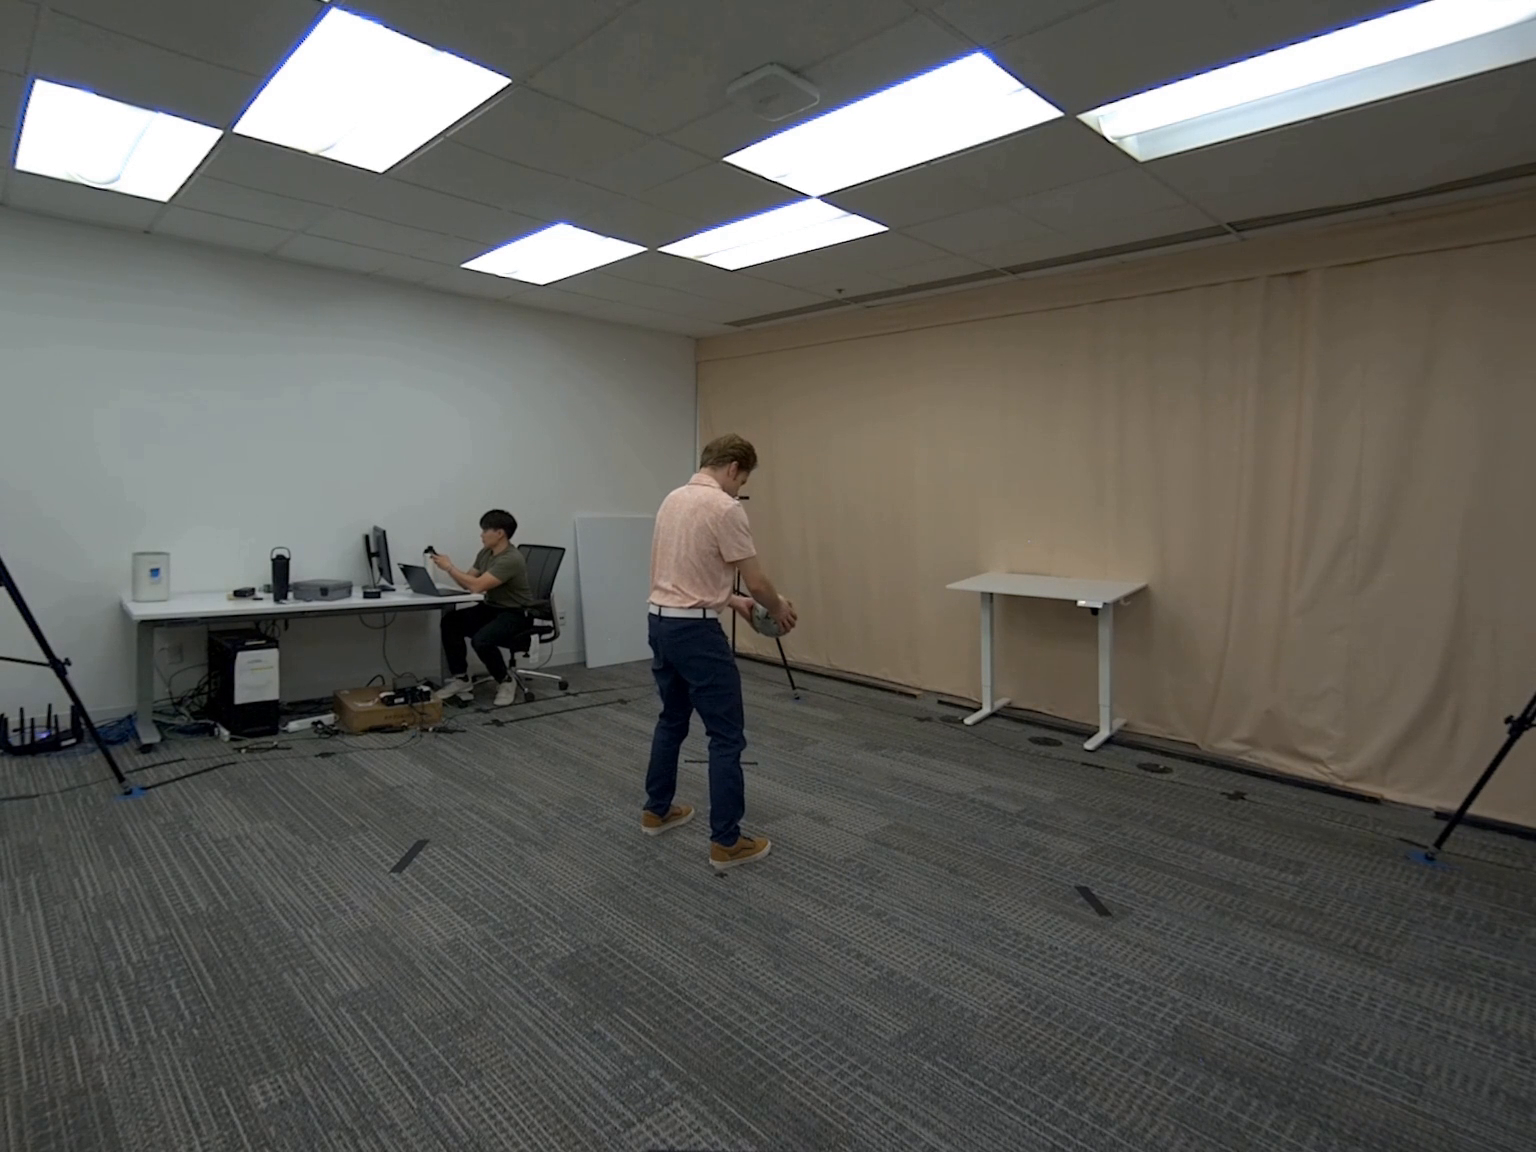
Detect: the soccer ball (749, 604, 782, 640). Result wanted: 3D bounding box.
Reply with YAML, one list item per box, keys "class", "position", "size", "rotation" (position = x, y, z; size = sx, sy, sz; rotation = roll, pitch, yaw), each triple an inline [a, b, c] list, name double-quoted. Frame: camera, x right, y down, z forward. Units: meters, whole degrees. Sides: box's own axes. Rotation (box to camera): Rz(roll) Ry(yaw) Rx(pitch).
- class: "soccer ball"
  position: [0.020, 0.171, 3.591]
  size: [0.187, 0.187, 0.188]
  rotation: [1, 4, -1]
